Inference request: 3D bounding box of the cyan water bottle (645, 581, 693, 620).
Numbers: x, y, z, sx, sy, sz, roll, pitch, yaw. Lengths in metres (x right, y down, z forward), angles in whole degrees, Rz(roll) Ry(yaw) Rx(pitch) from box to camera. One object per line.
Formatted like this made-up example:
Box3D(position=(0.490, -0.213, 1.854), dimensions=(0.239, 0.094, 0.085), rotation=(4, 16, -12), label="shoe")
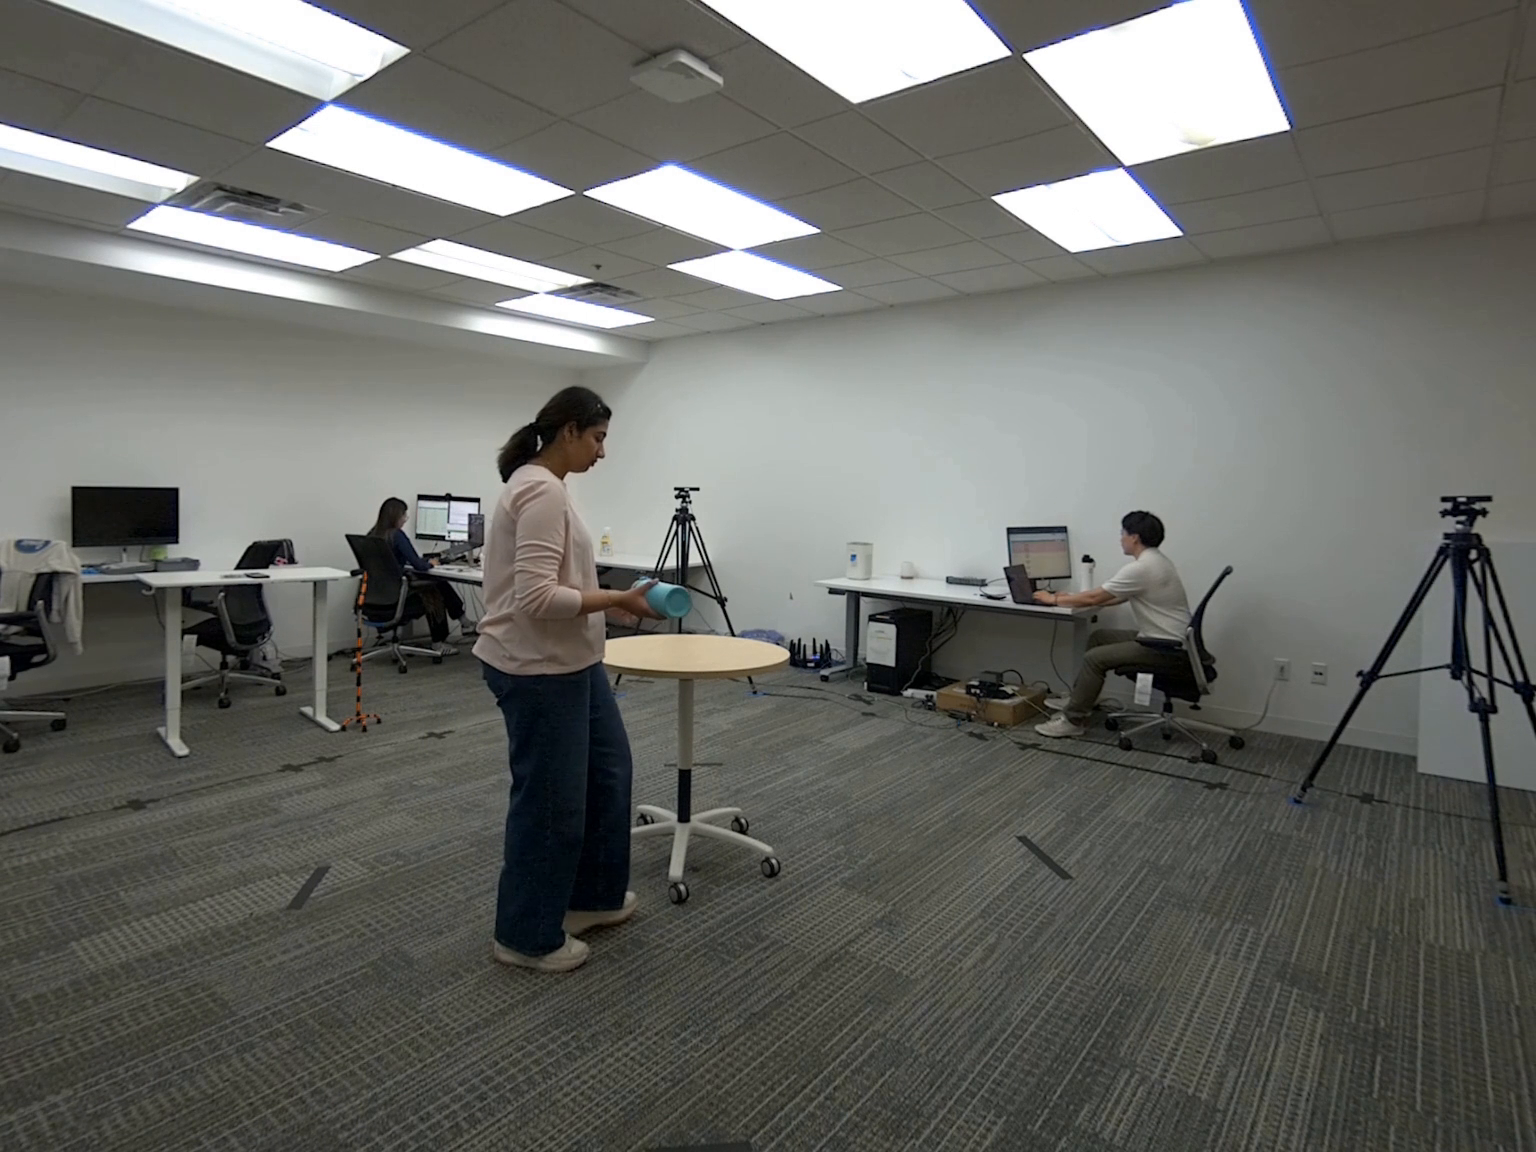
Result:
Box3D(position=(-0.316, 0.061, 2.445), dimensions=(0.090, 0.092, 0.292), rotation=(-2, 5, -31), label="cyan water bottle")
